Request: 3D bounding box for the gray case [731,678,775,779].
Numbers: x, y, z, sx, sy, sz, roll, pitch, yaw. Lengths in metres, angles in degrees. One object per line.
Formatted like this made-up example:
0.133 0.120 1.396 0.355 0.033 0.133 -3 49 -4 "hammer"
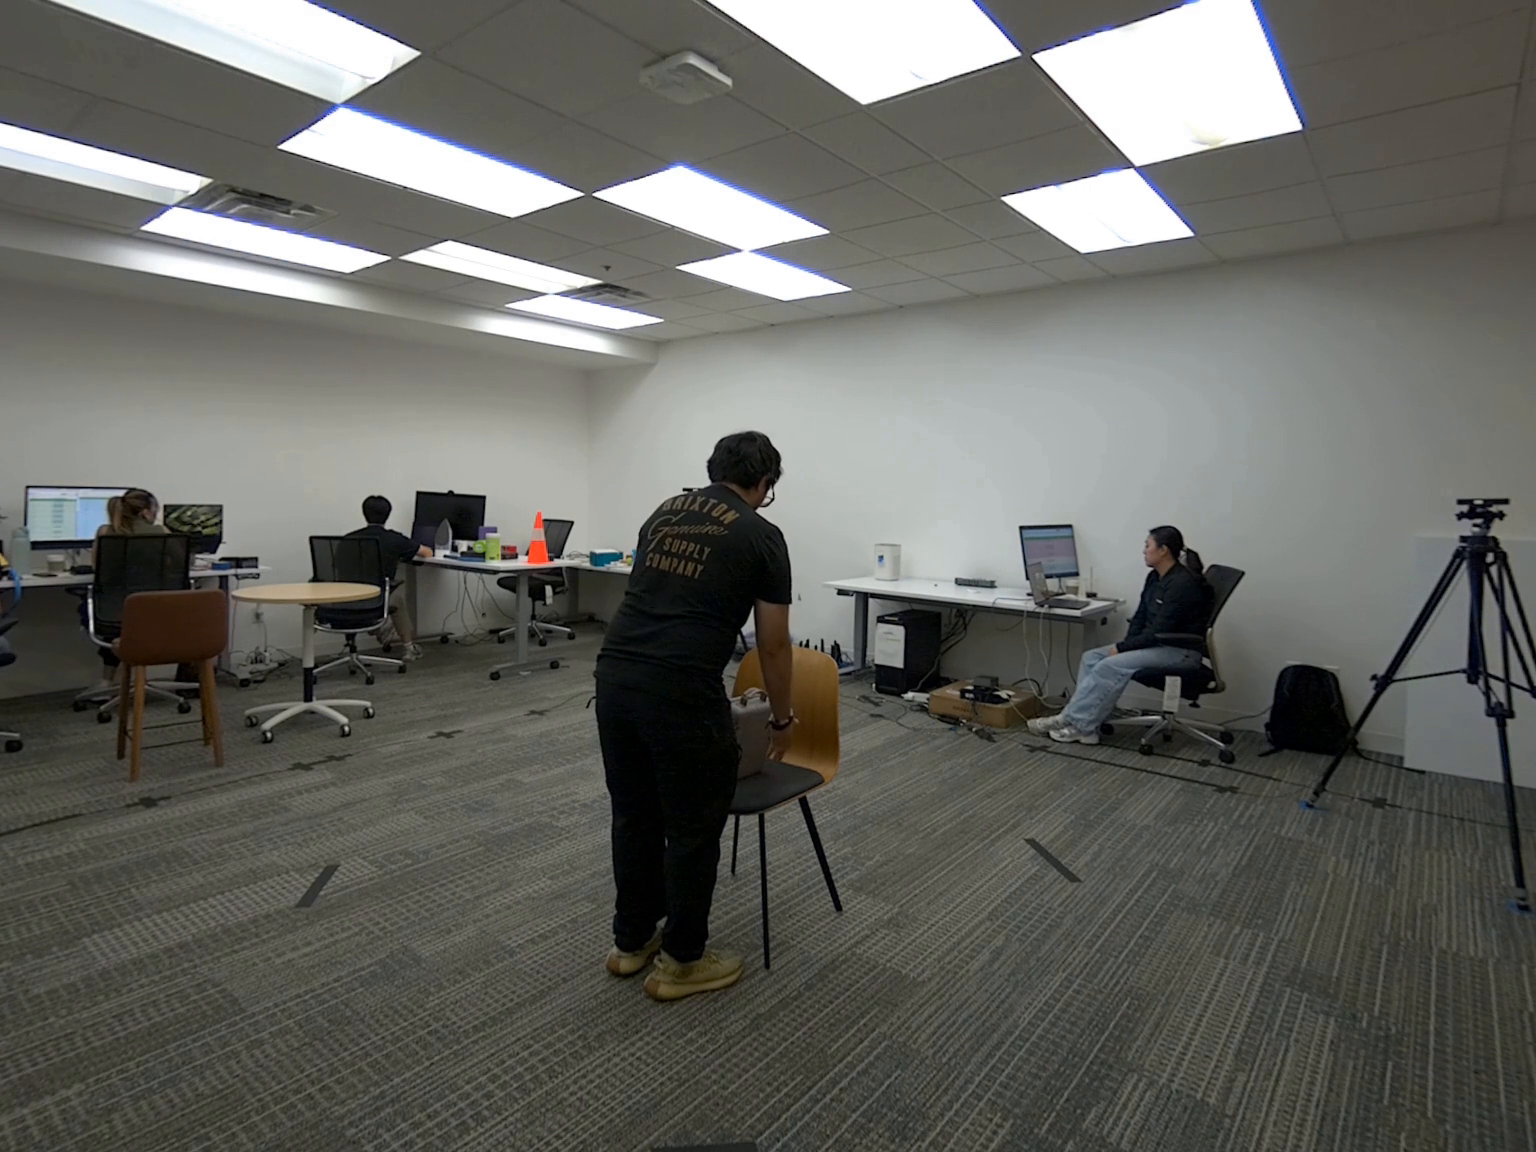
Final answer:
-0.097 0.511 2.688 0.108 0.259 0.249 20 10 32 "gray case"
